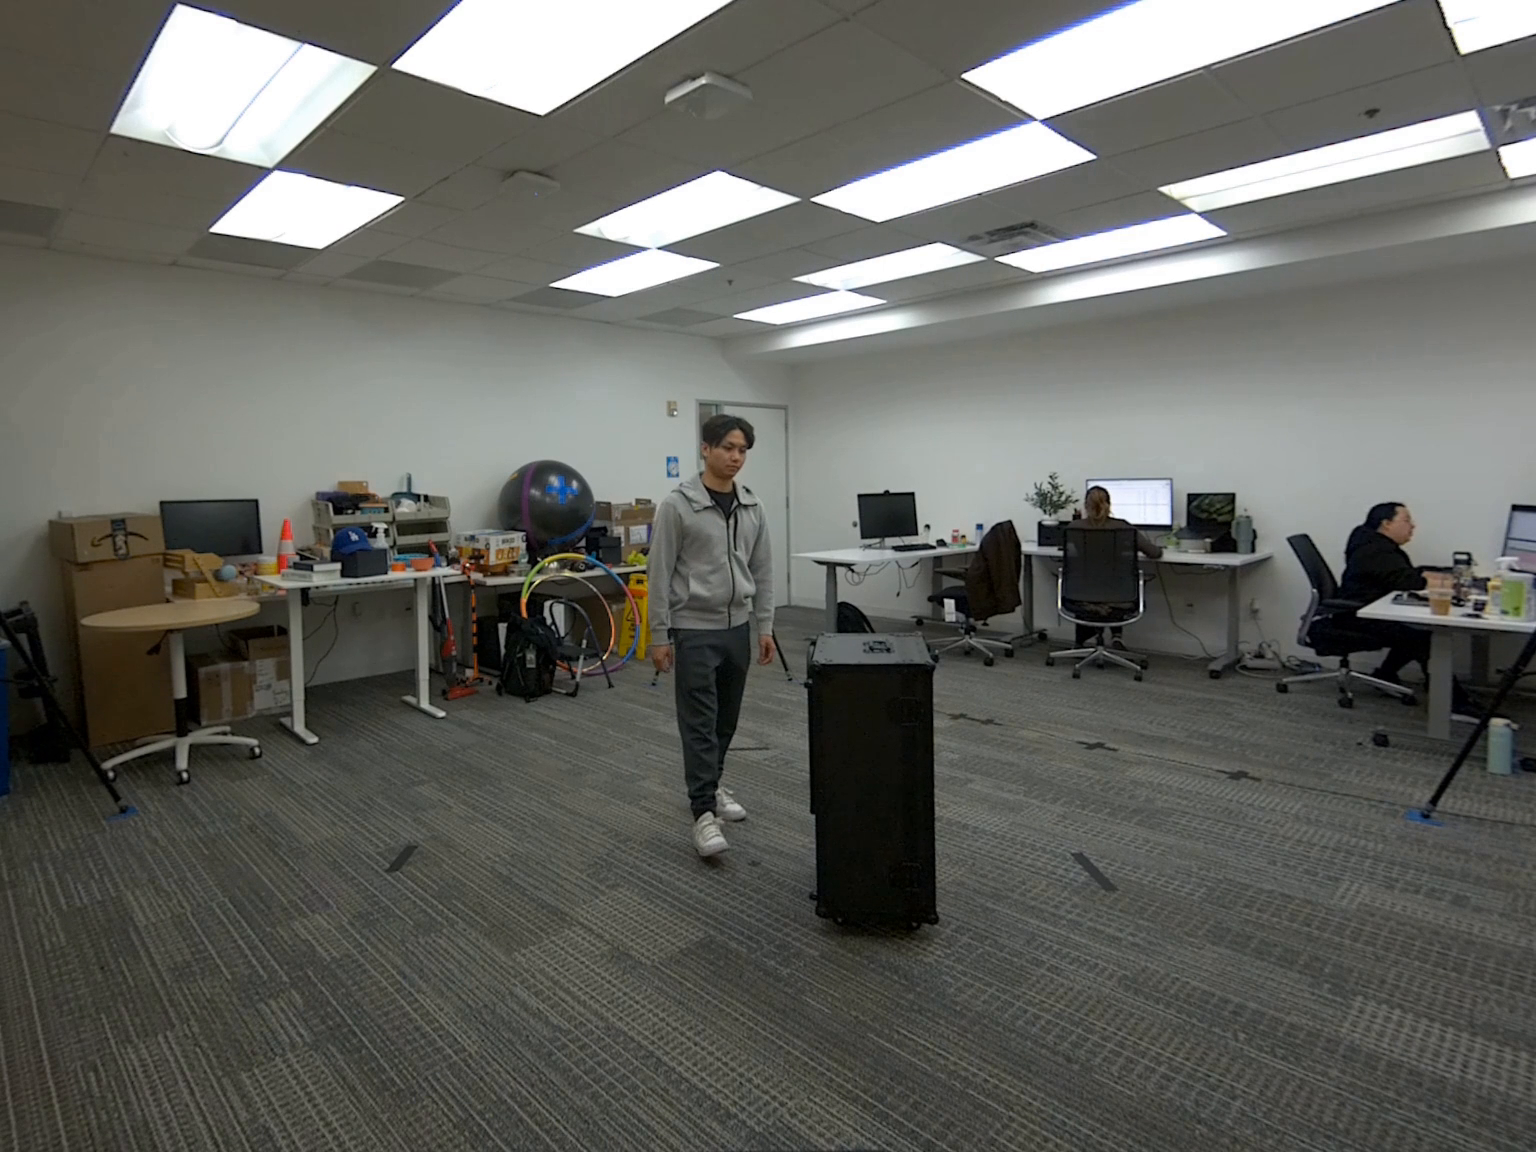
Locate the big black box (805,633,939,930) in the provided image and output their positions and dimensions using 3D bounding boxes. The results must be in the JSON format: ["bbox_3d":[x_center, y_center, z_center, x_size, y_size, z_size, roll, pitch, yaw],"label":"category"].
[{"bbox_3d":[0.332,0.651,2.763,0.400,0.858,0.519,-2,4,8],"label":"big black box"}]
